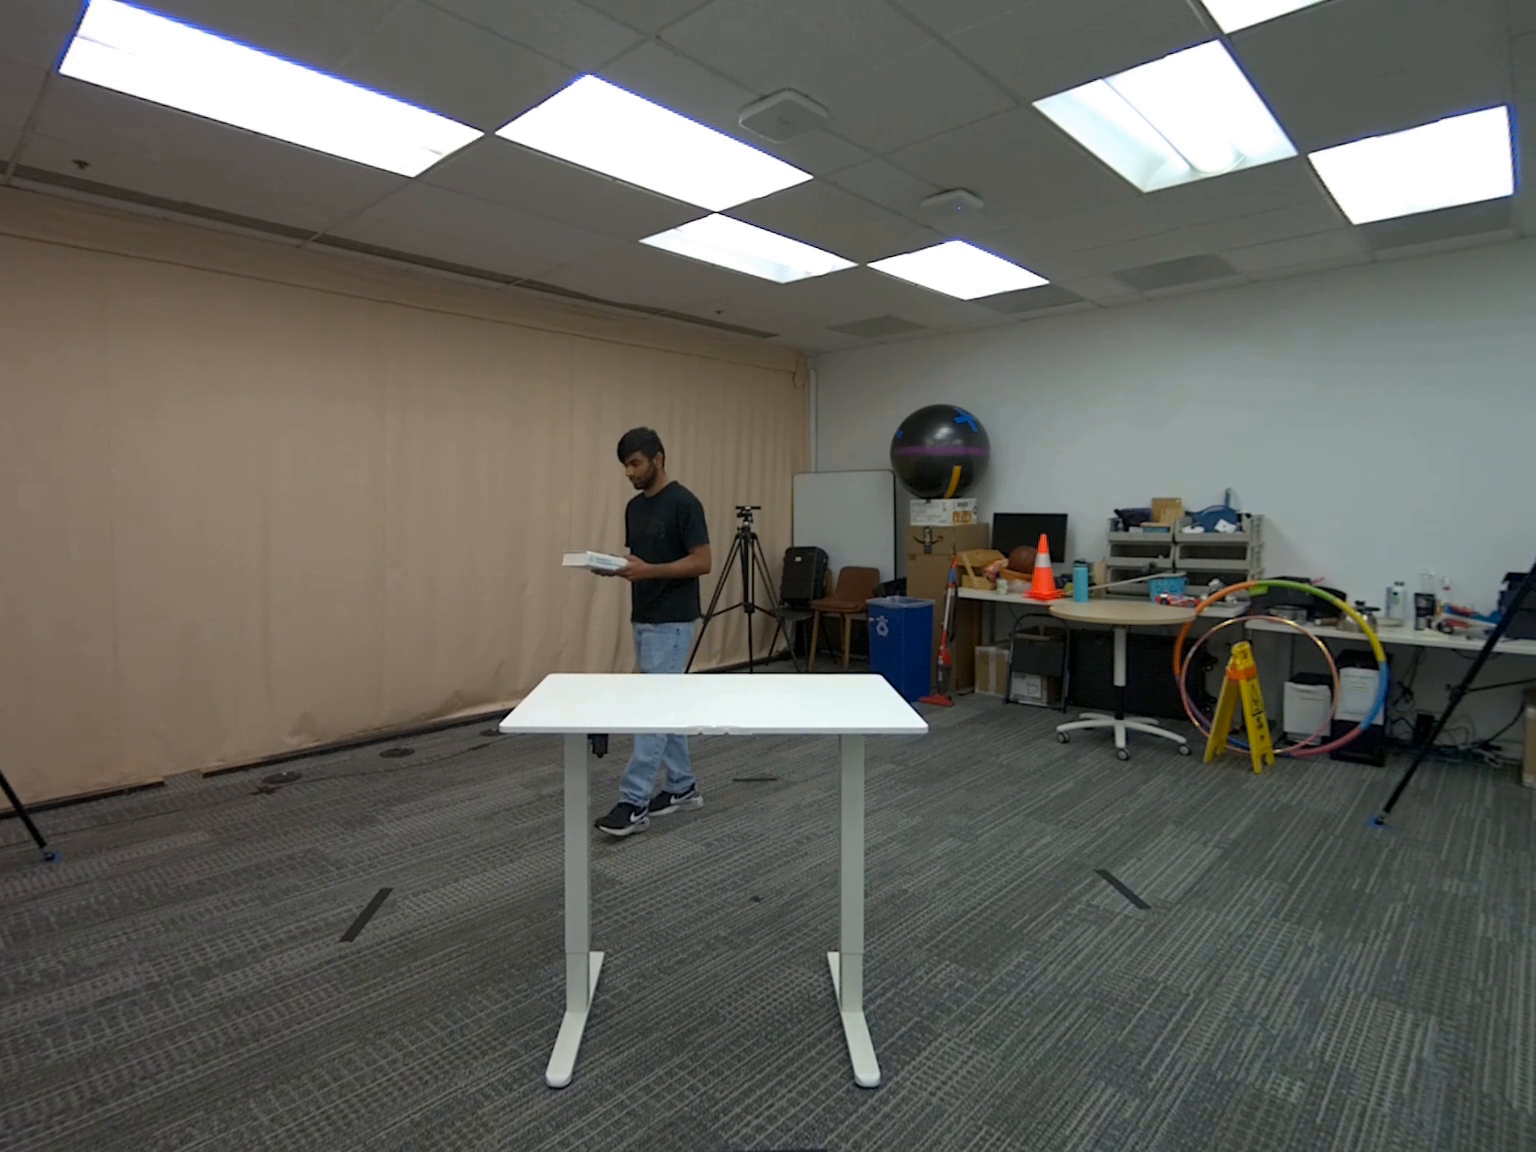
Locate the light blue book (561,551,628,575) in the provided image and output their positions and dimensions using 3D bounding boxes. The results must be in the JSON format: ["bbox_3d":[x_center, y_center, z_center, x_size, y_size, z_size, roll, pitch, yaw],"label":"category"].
[{"bbox_3d":[-0.713,-0.053,3.533,0.197,0.059,0.252,1,-8,45],"label":"light blue book"}]
